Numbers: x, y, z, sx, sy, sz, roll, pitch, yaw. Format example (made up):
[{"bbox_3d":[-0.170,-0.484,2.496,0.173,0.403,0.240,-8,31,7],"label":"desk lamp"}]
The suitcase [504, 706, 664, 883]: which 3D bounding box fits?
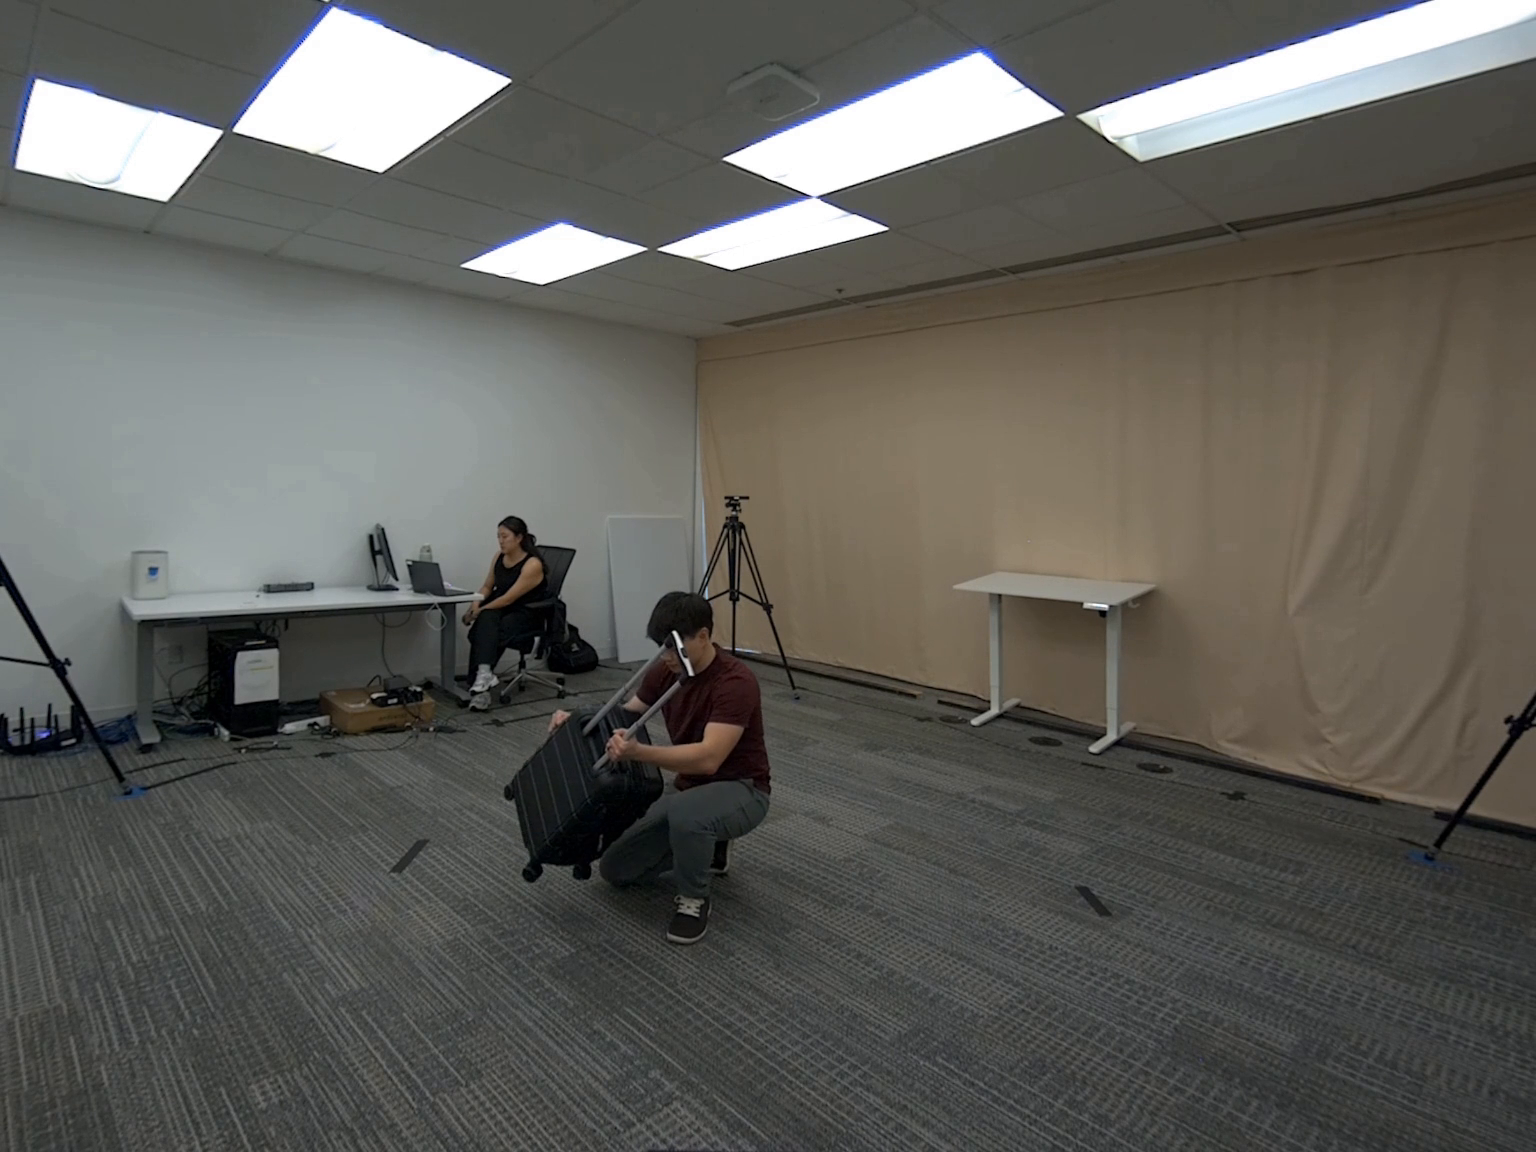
[{"bbox_3d":[-0.487,0.556,2.668,0.250,0.978,0.395,16,37,-43],"label":"suitcase"}]
